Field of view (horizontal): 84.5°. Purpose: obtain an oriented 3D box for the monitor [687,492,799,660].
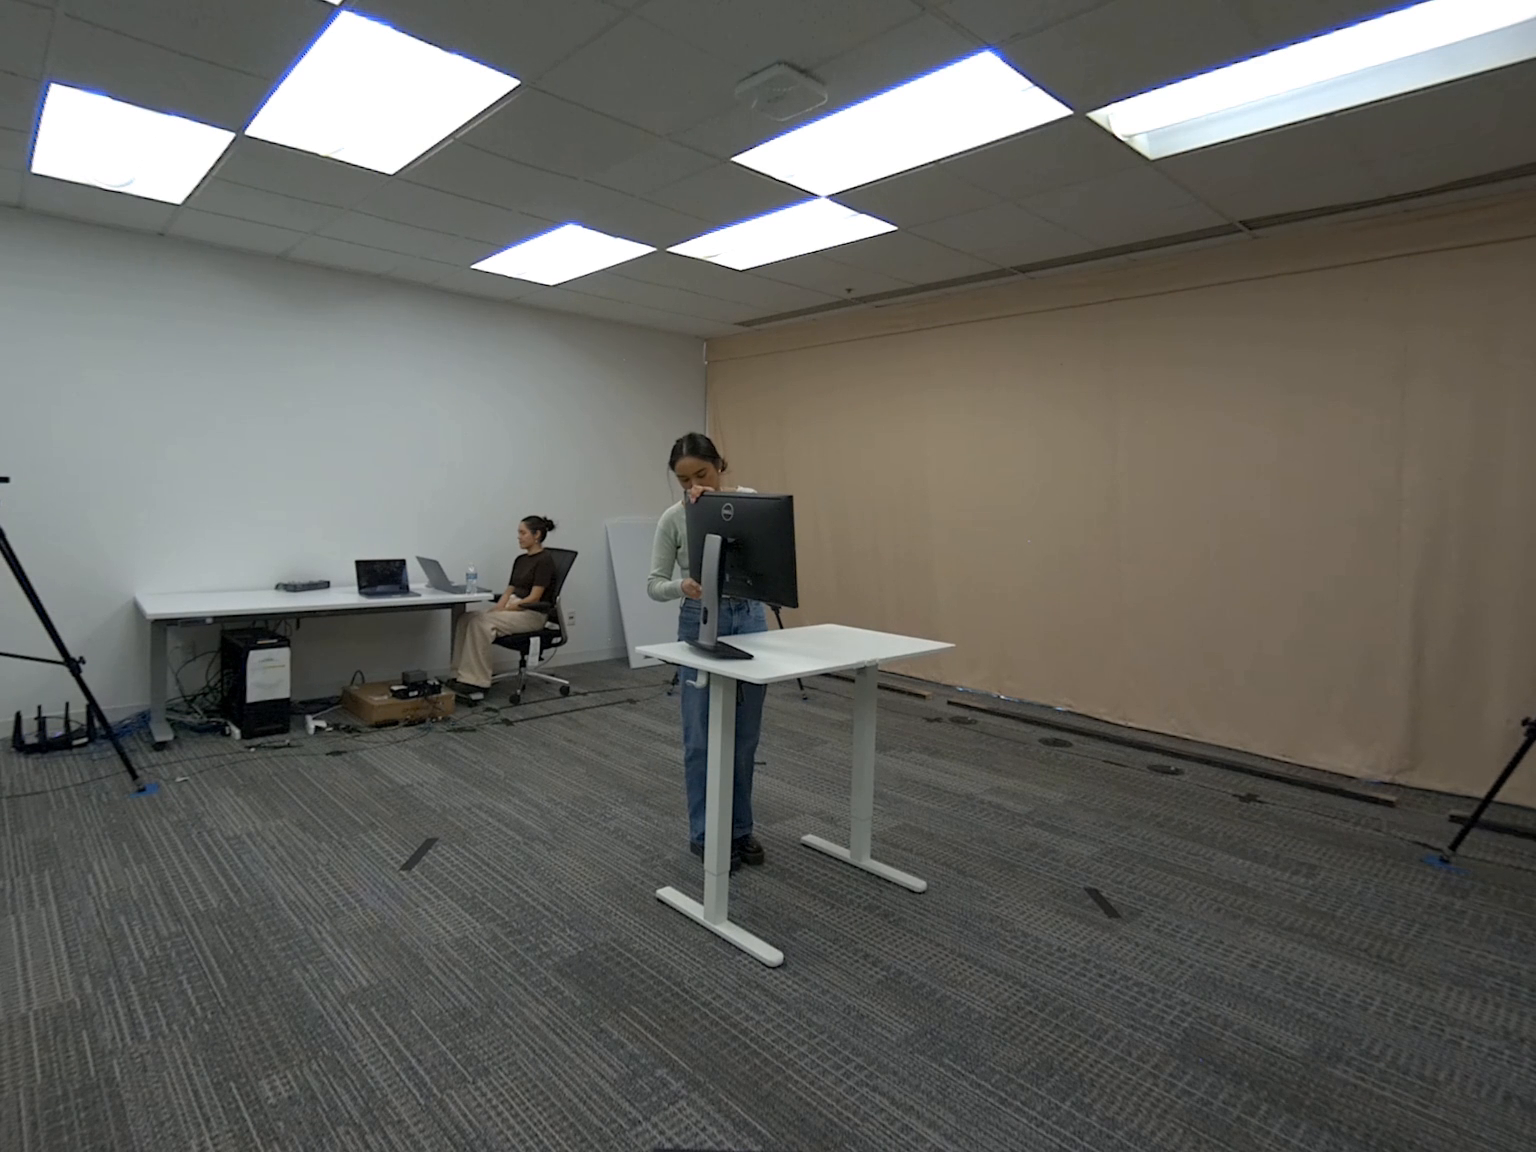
[{"bbox_3d":[-0.149,-0.012,2.737,0.182,0.523,0.553,8,0,-43],"label":"monitor"}]
